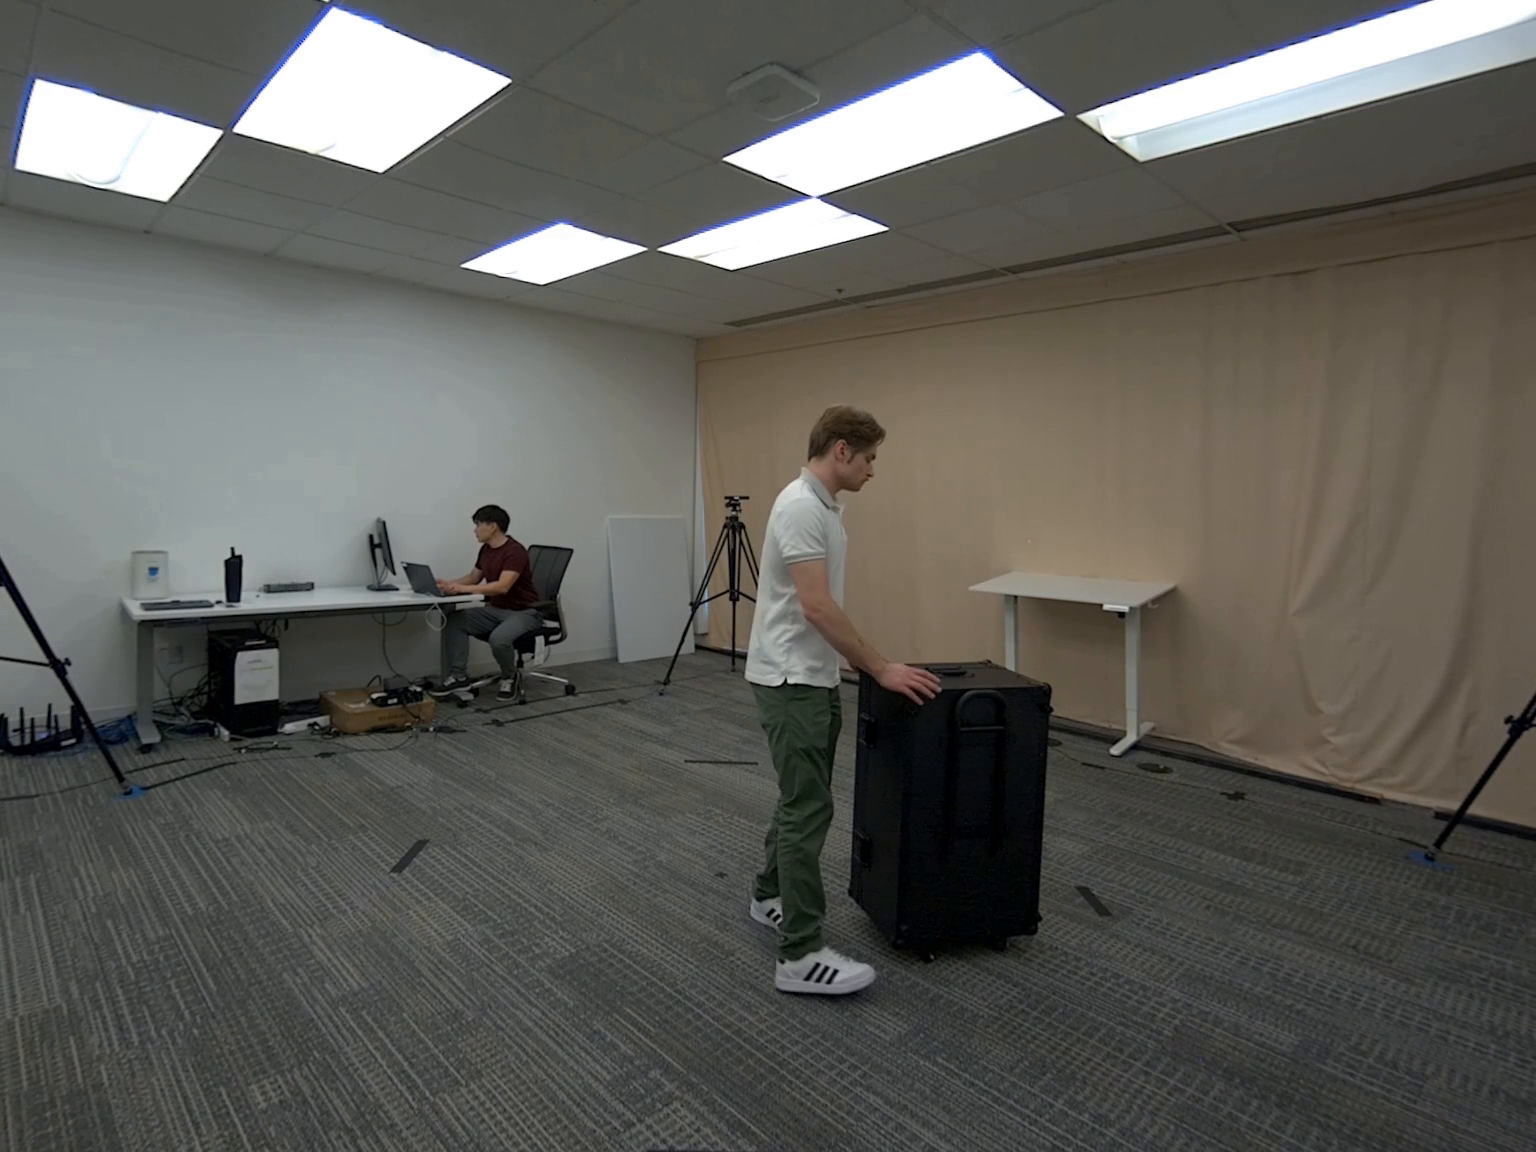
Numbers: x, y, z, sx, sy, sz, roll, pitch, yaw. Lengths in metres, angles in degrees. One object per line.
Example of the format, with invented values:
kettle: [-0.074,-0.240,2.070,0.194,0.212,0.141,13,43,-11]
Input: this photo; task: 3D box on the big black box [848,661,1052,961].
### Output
big black box: [0.568,0.740,2.684,0.517,0.866,0.391,1,4,-15]
